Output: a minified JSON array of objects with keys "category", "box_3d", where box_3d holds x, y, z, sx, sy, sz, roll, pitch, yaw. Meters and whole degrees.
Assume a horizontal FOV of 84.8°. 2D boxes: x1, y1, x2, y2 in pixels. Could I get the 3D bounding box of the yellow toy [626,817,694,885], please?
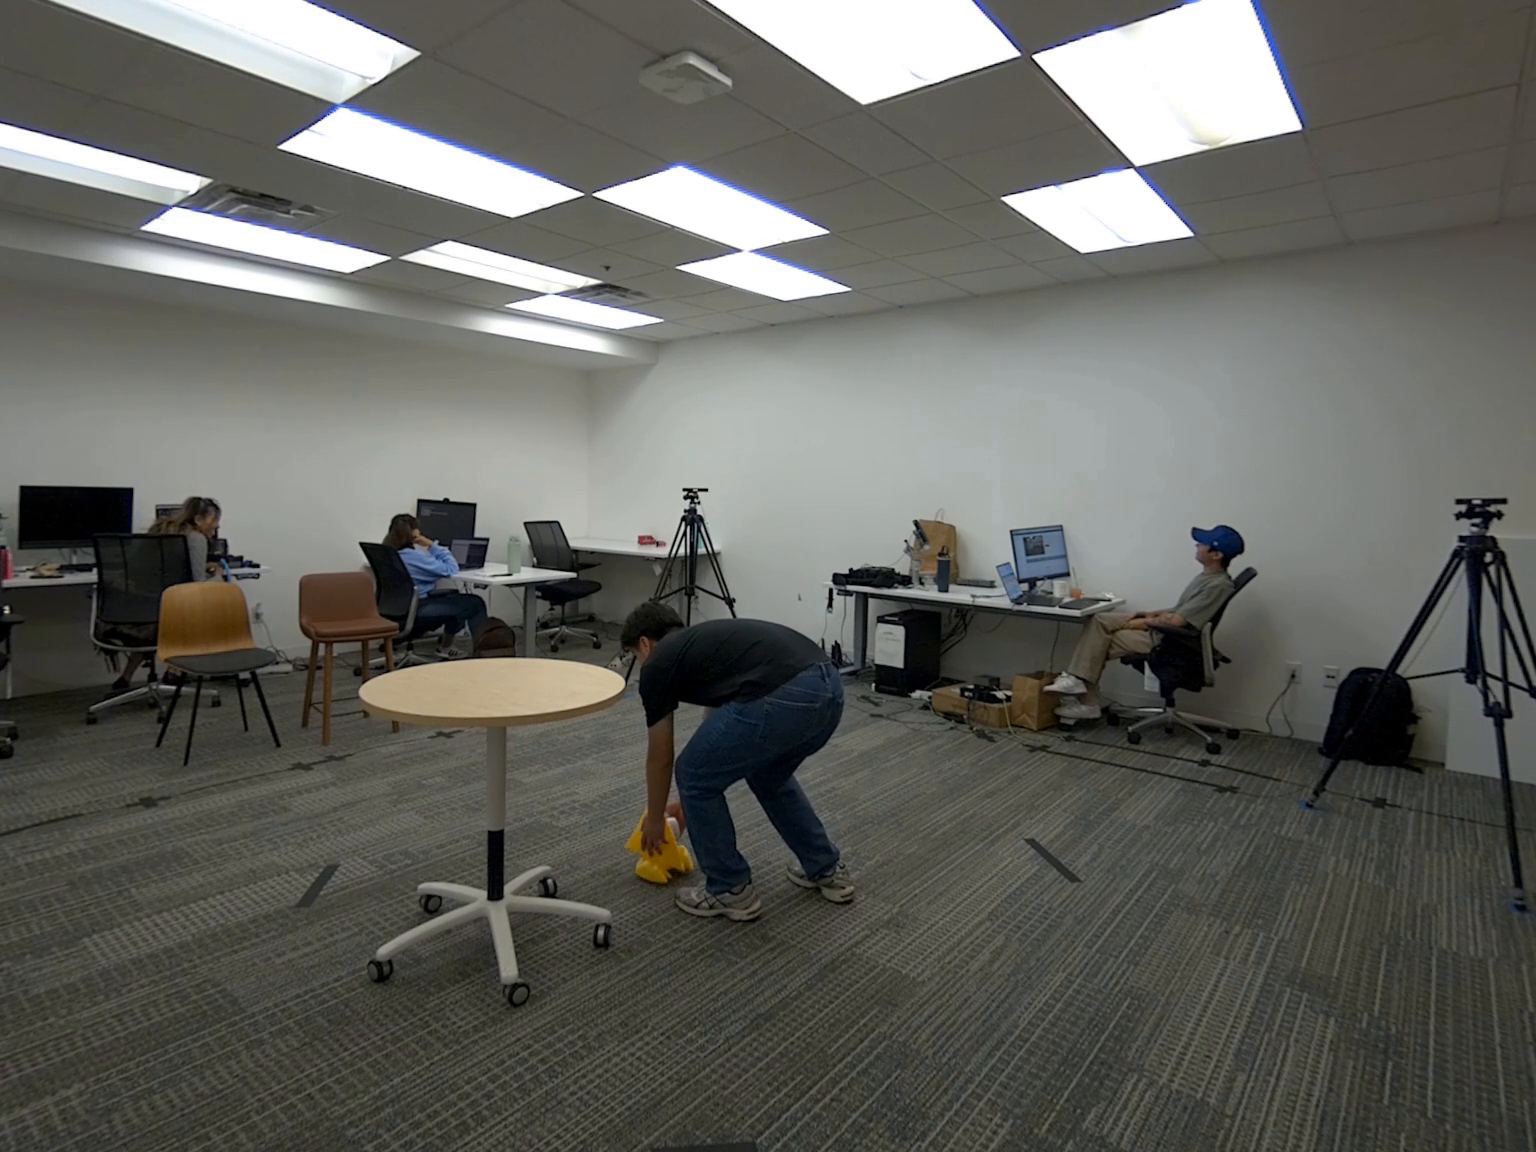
[{"category":"yellow toy","box_3d":[-0.390,0.924,3.062,0.200,0.229,0.199,8,10,43]}]
